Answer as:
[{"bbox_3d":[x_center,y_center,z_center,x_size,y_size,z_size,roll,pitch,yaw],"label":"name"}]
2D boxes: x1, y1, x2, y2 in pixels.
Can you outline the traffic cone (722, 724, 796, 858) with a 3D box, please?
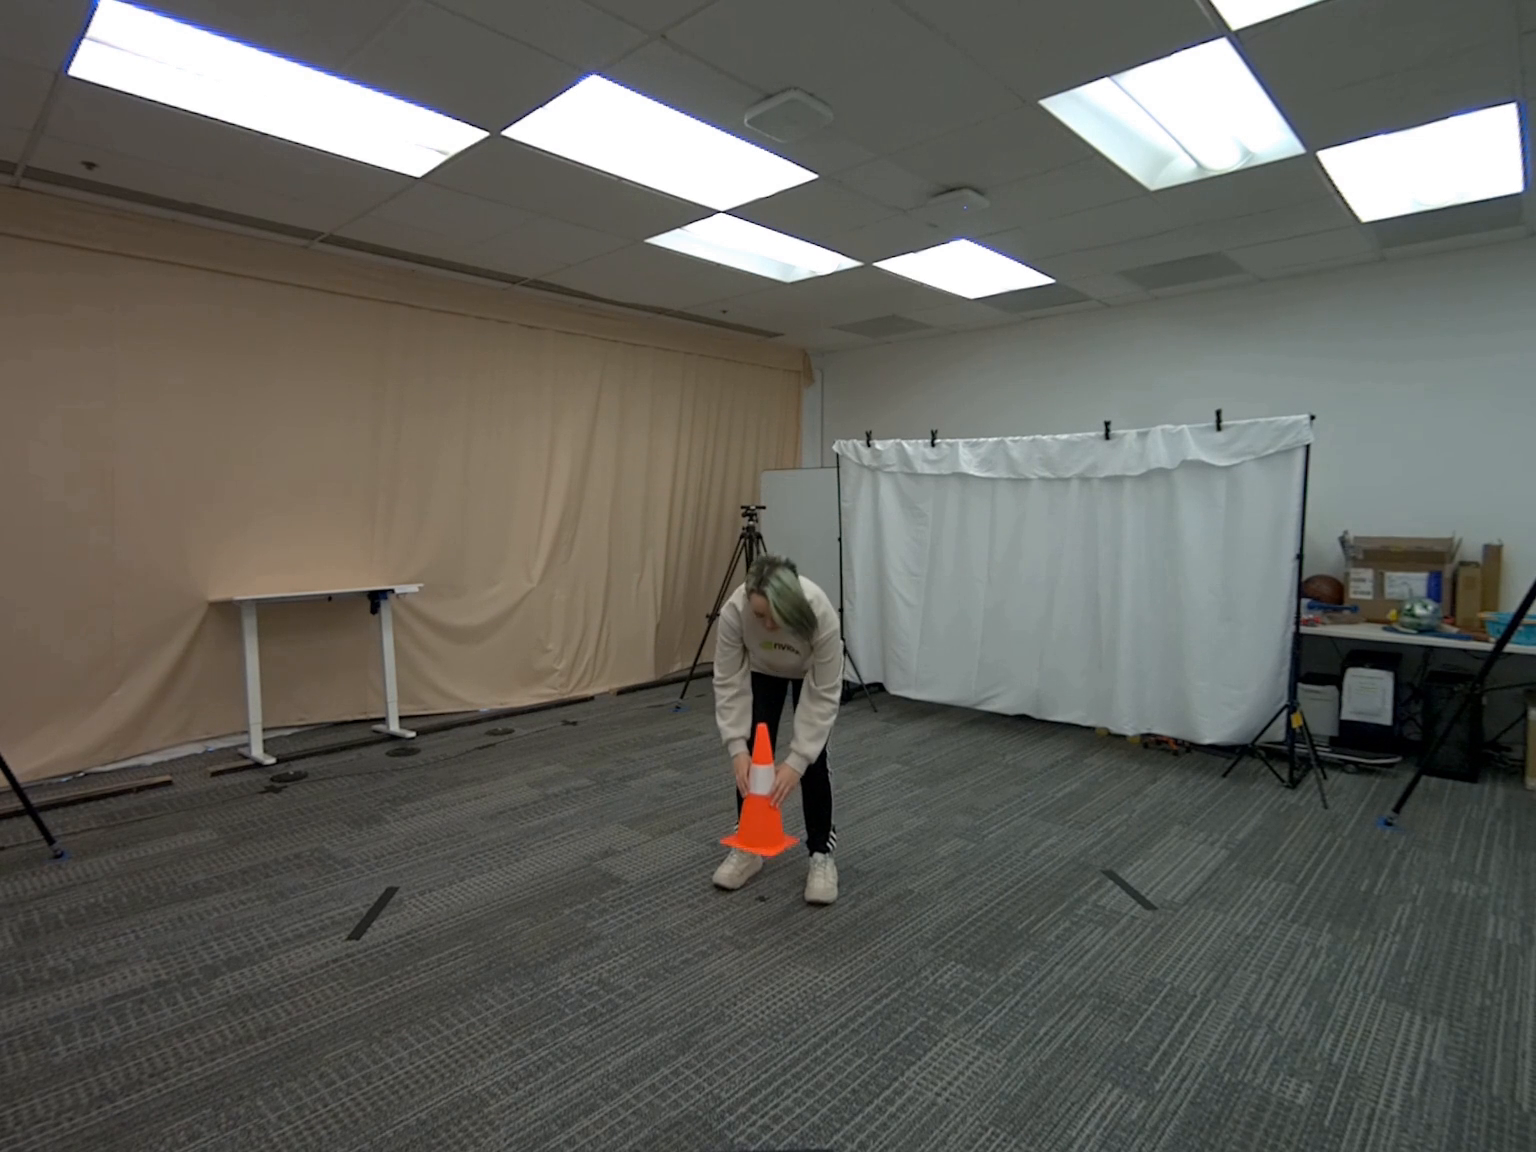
[{"bbox_3d":[-0.013,0.669,2.743,0.211,0.384,0.197,2,-1,37],"label":"traffic cone"}]
